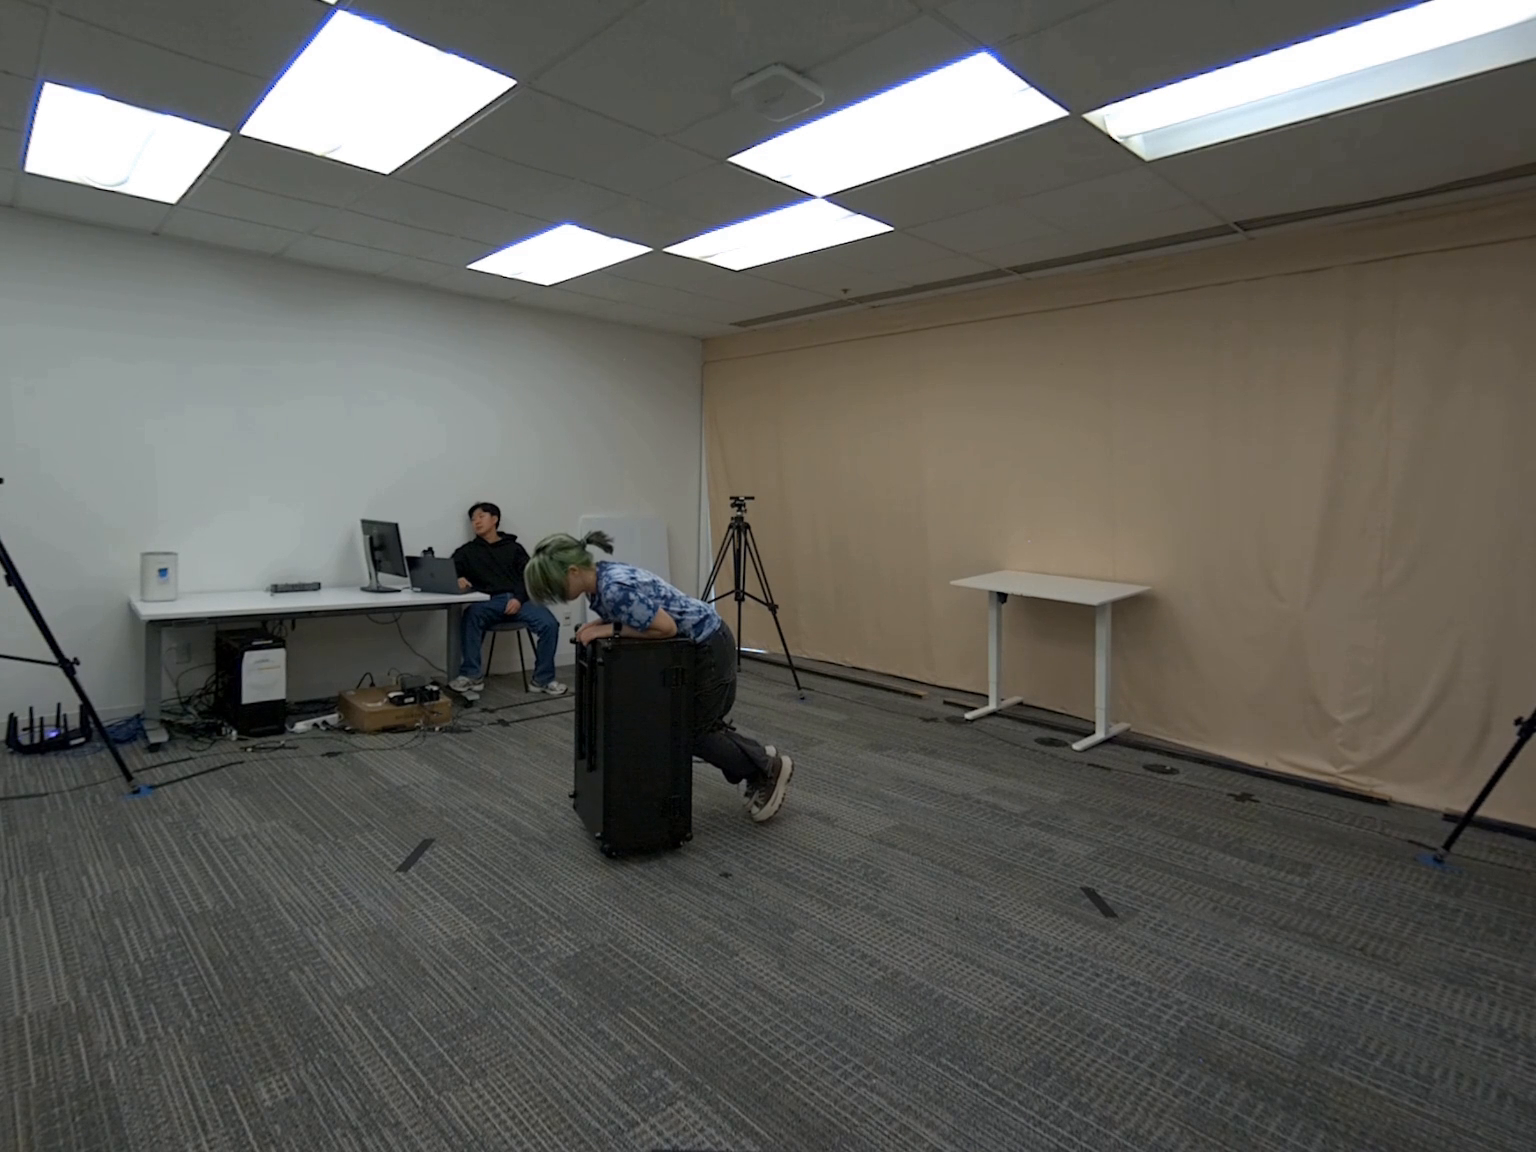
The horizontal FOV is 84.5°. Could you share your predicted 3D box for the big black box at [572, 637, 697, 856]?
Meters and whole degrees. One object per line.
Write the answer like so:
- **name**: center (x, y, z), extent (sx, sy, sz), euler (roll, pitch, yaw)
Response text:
- **big black box**: center (-0.568, 0.596, 3.360), extent (0.389, 0.859, 0.532), euler (-1, 4, -25)
